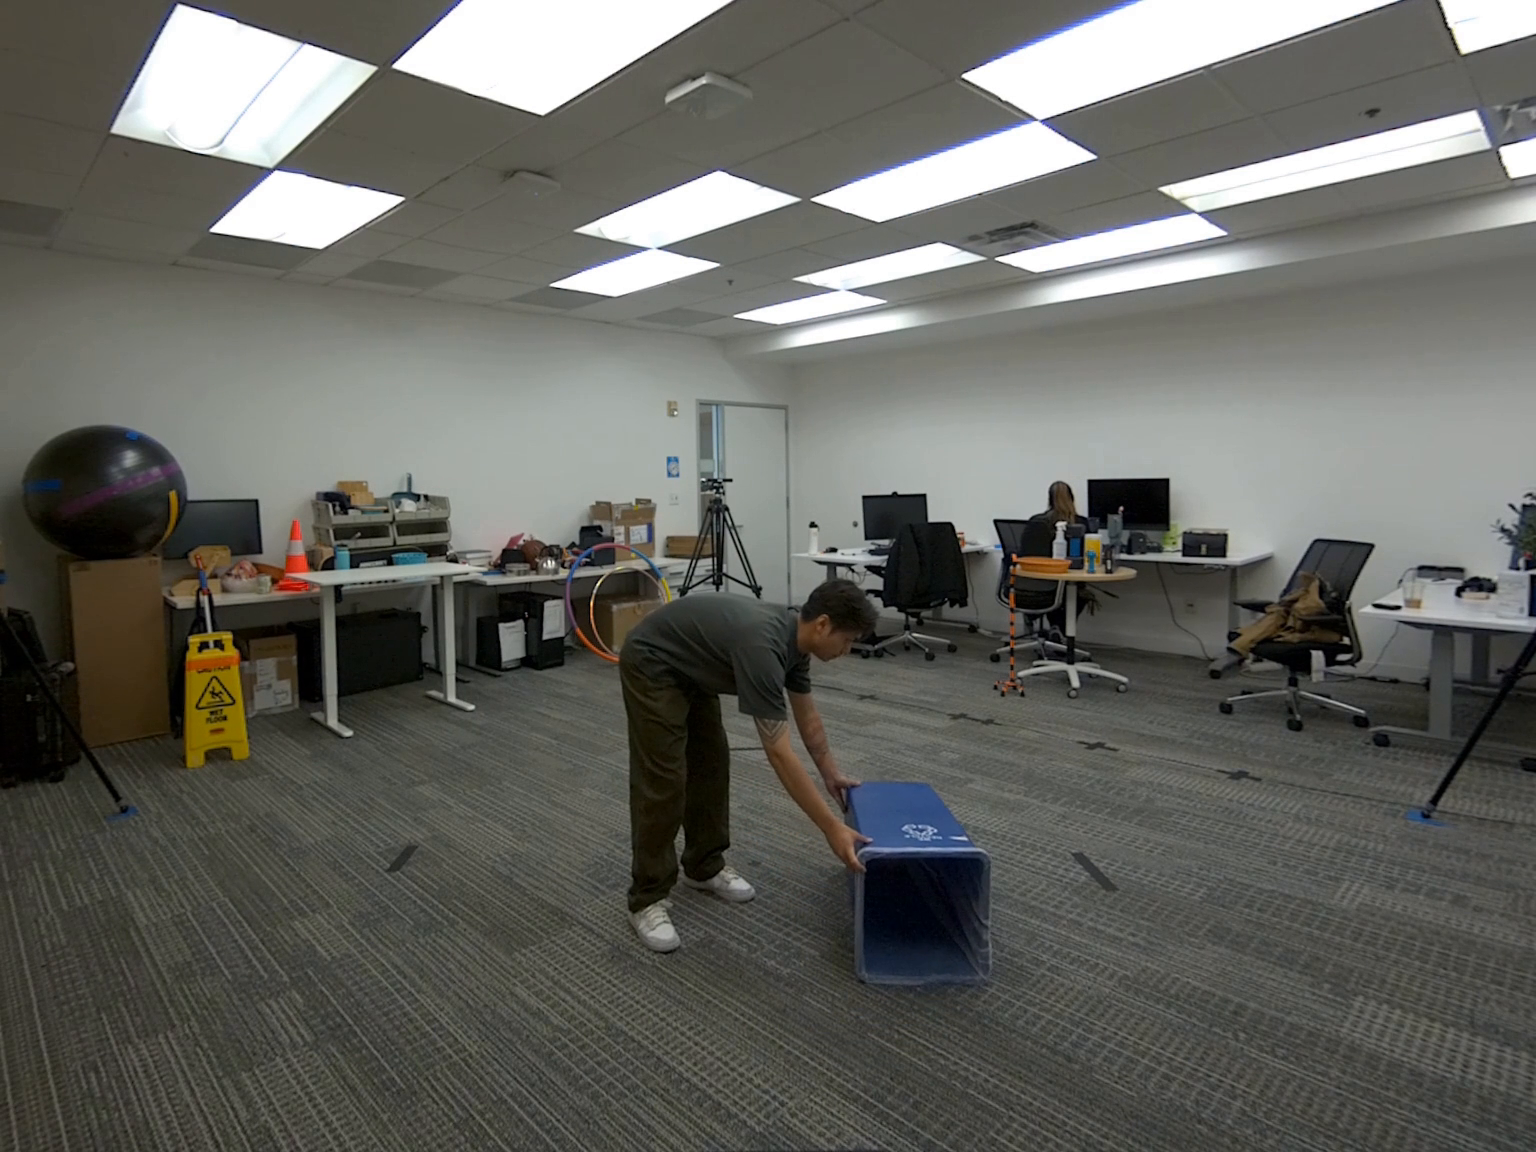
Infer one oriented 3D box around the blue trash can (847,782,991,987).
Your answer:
[{"bbox_3d":[0.427,0.906,2.702,0.378,0.373,0.715,-2,4,0],"label":"blue trash can"}]
